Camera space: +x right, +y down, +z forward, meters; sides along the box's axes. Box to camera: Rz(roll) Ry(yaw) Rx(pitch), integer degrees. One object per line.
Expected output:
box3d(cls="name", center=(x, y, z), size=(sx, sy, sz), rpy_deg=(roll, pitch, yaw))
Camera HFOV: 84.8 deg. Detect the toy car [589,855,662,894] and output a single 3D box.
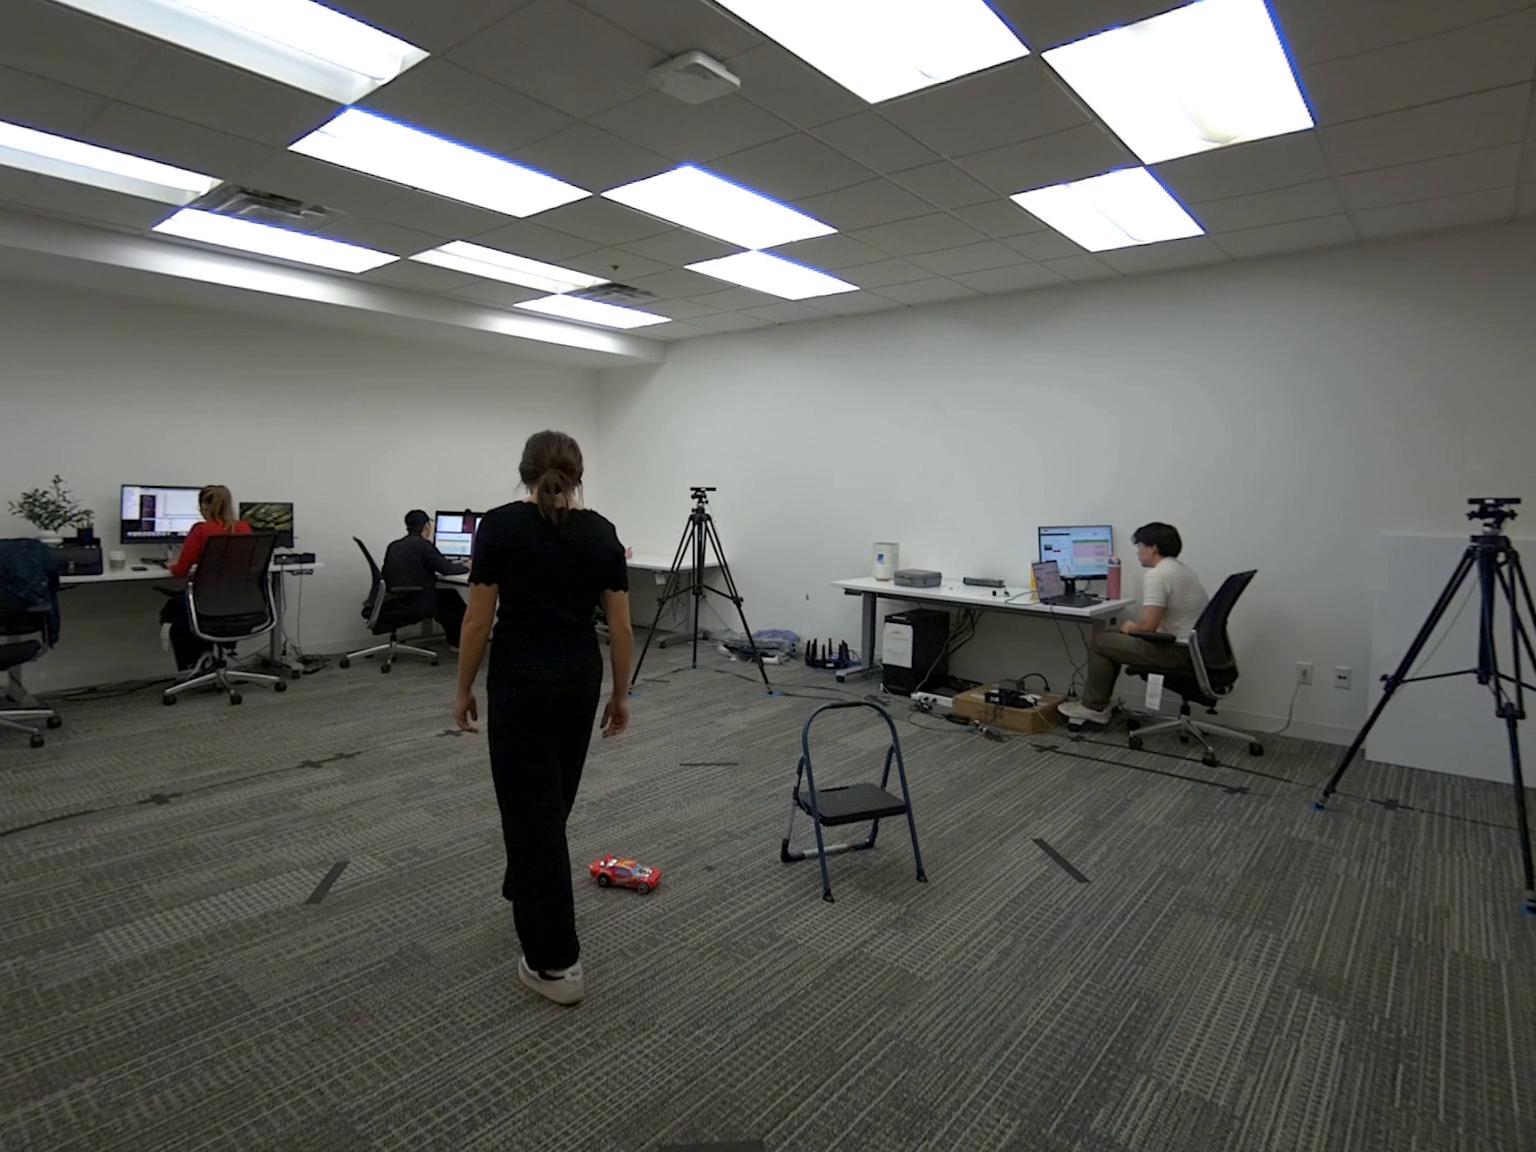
box3d(cls="toy car", center=(-0.522, 1.047, 2.977), size=(0.260, 0.082, 0.128), rpy_deg=(13, 10, 16))
